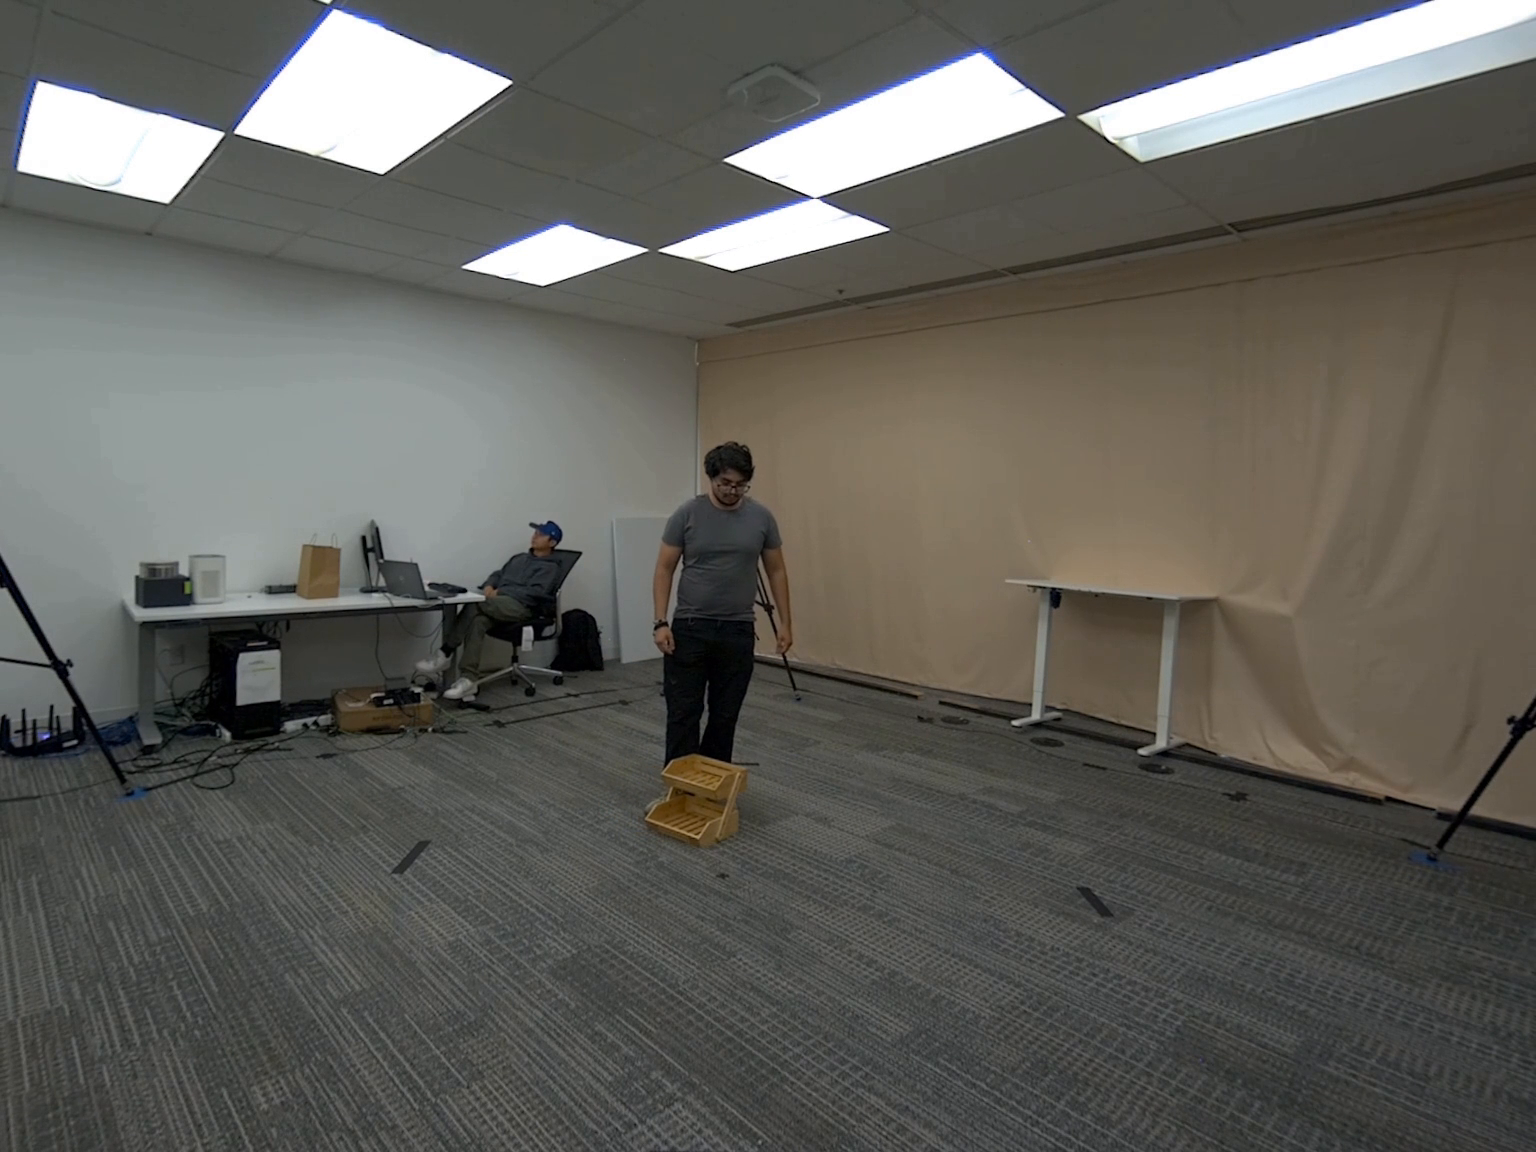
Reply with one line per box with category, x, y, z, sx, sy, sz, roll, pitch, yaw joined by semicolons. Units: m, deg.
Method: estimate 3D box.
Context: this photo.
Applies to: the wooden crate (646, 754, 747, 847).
wooden crate;-0.321;0.933;3.528;0.332;0.273;0.295;5;4;38
